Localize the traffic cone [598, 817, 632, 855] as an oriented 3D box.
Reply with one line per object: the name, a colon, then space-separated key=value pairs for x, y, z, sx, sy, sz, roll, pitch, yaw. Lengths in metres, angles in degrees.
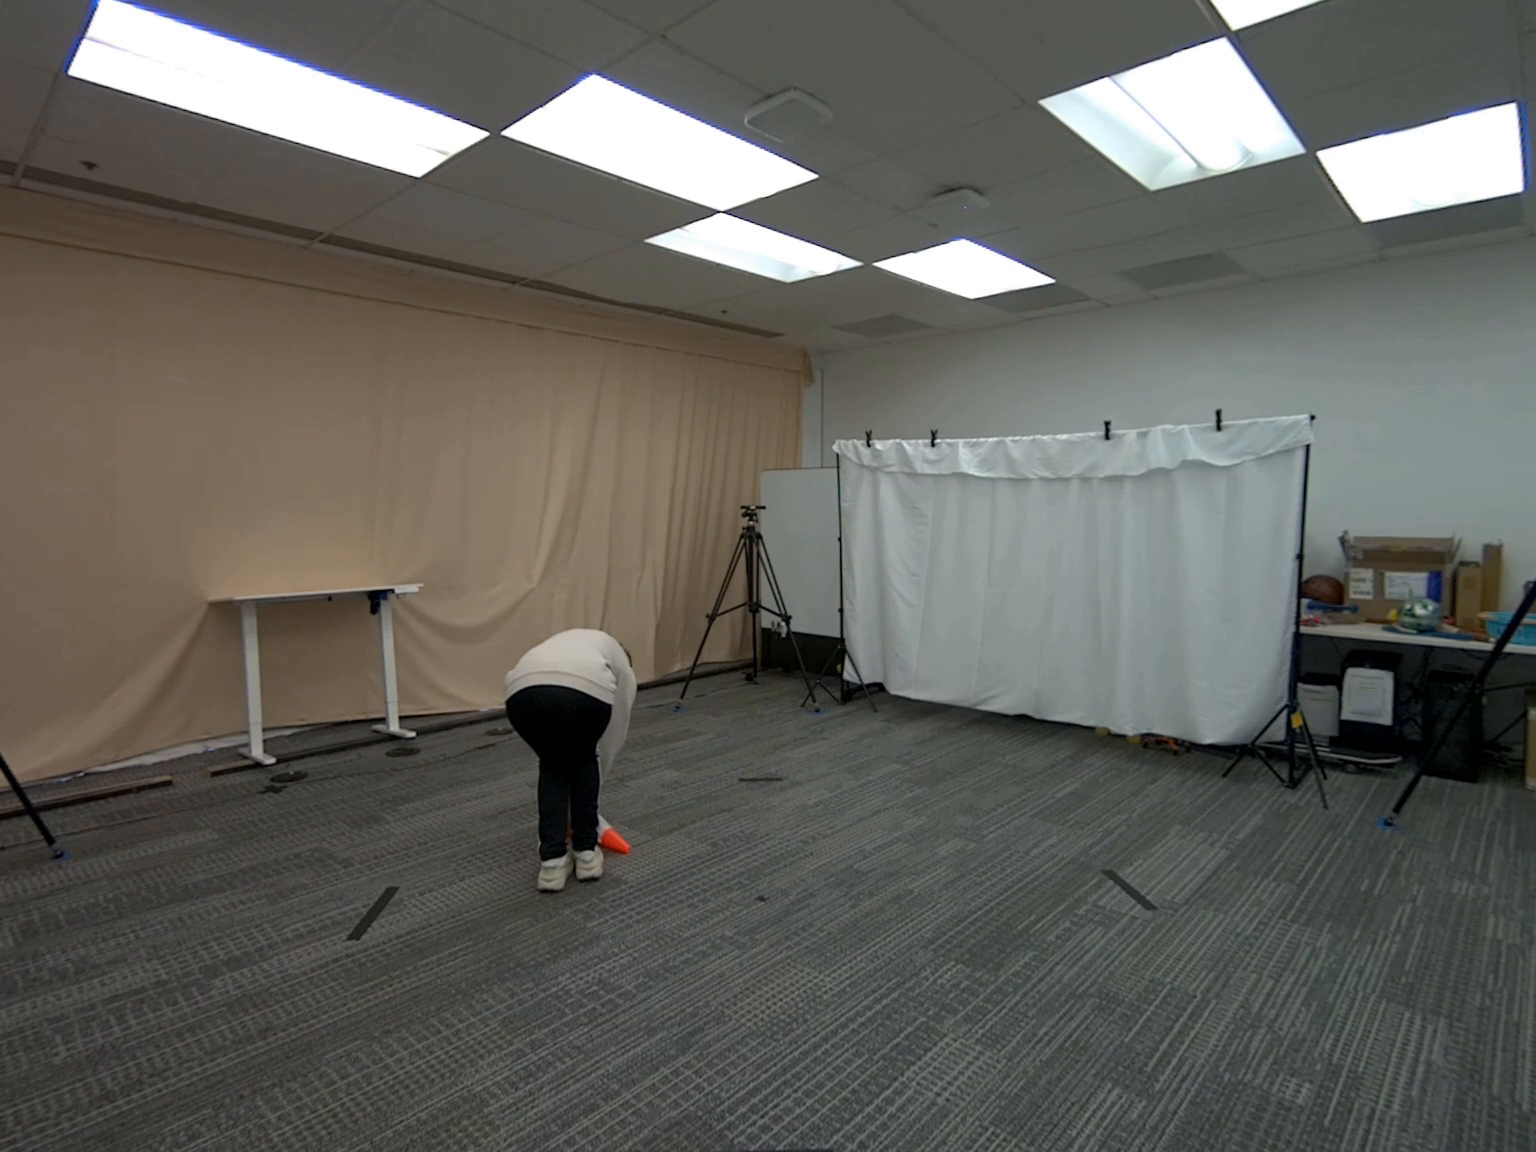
traffic cone: x=-0.709 y=1.047 z=3.498 sx=0.397 sy=0.202 sz=0.199 roll=19 pitch=15 yaw=37
